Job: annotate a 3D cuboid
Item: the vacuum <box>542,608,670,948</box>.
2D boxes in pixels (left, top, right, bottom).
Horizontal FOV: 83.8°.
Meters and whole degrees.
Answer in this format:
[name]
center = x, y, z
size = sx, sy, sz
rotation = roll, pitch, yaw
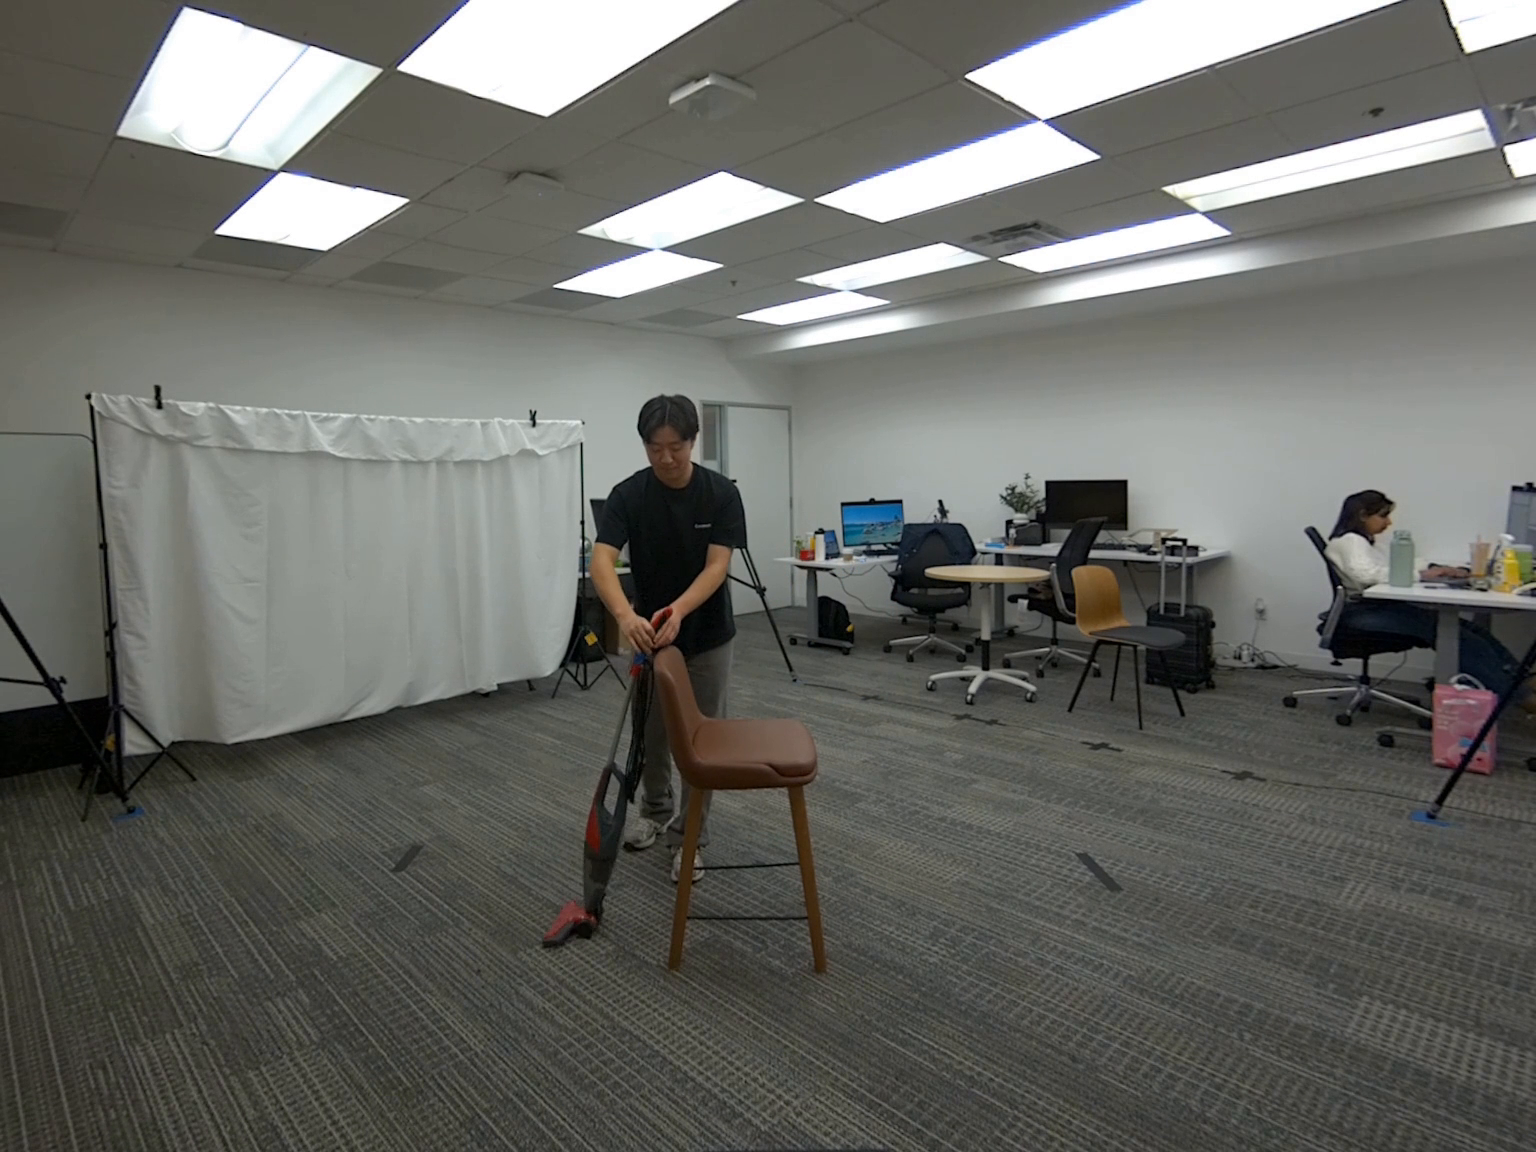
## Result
[vacuum]
center = -0.466, 0.598, 2.660
size = 0.143, 1.048, 0.254
rotation = 15, 2, -4
